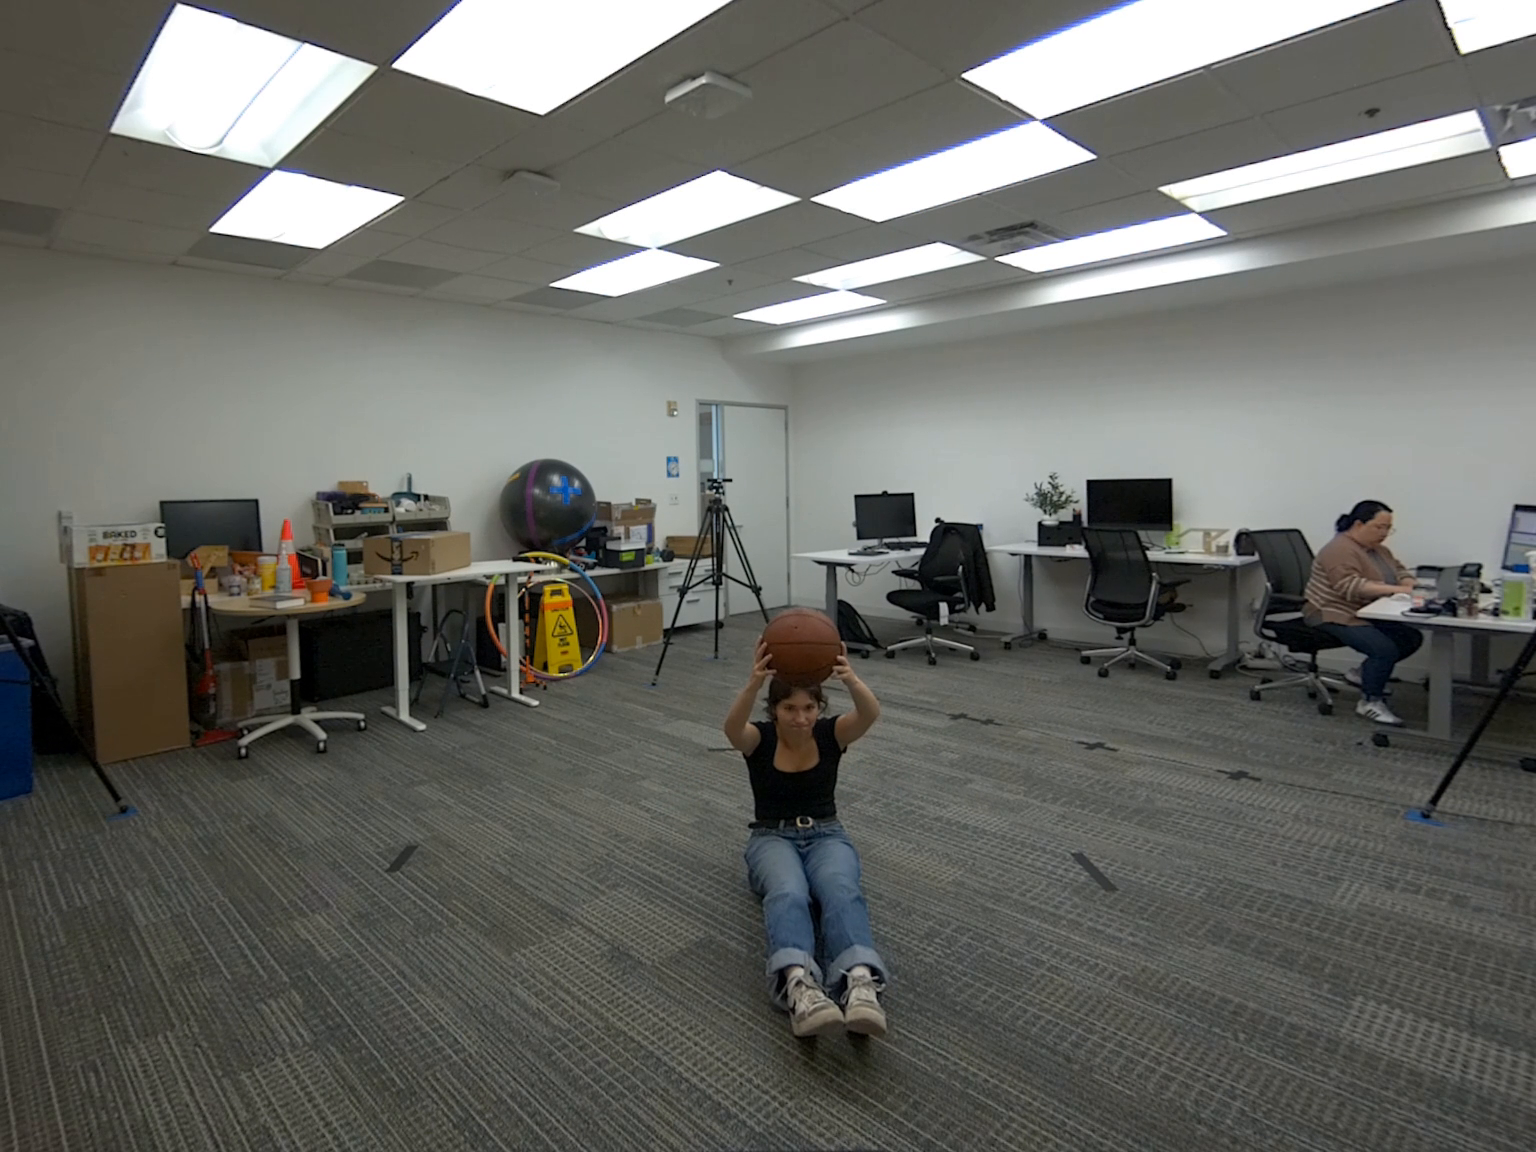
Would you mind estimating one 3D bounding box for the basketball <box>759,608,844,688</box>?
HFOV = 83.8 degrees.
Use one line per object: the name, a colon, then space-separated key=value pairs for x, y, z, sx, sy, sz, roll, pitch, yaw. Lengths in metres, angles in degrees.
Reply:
basketball: x=0.096 y=0.213 z=2.535 sx=0.236 sy=0.235 sz=0.237 roll=-1 pitch=5 yaw=-2
